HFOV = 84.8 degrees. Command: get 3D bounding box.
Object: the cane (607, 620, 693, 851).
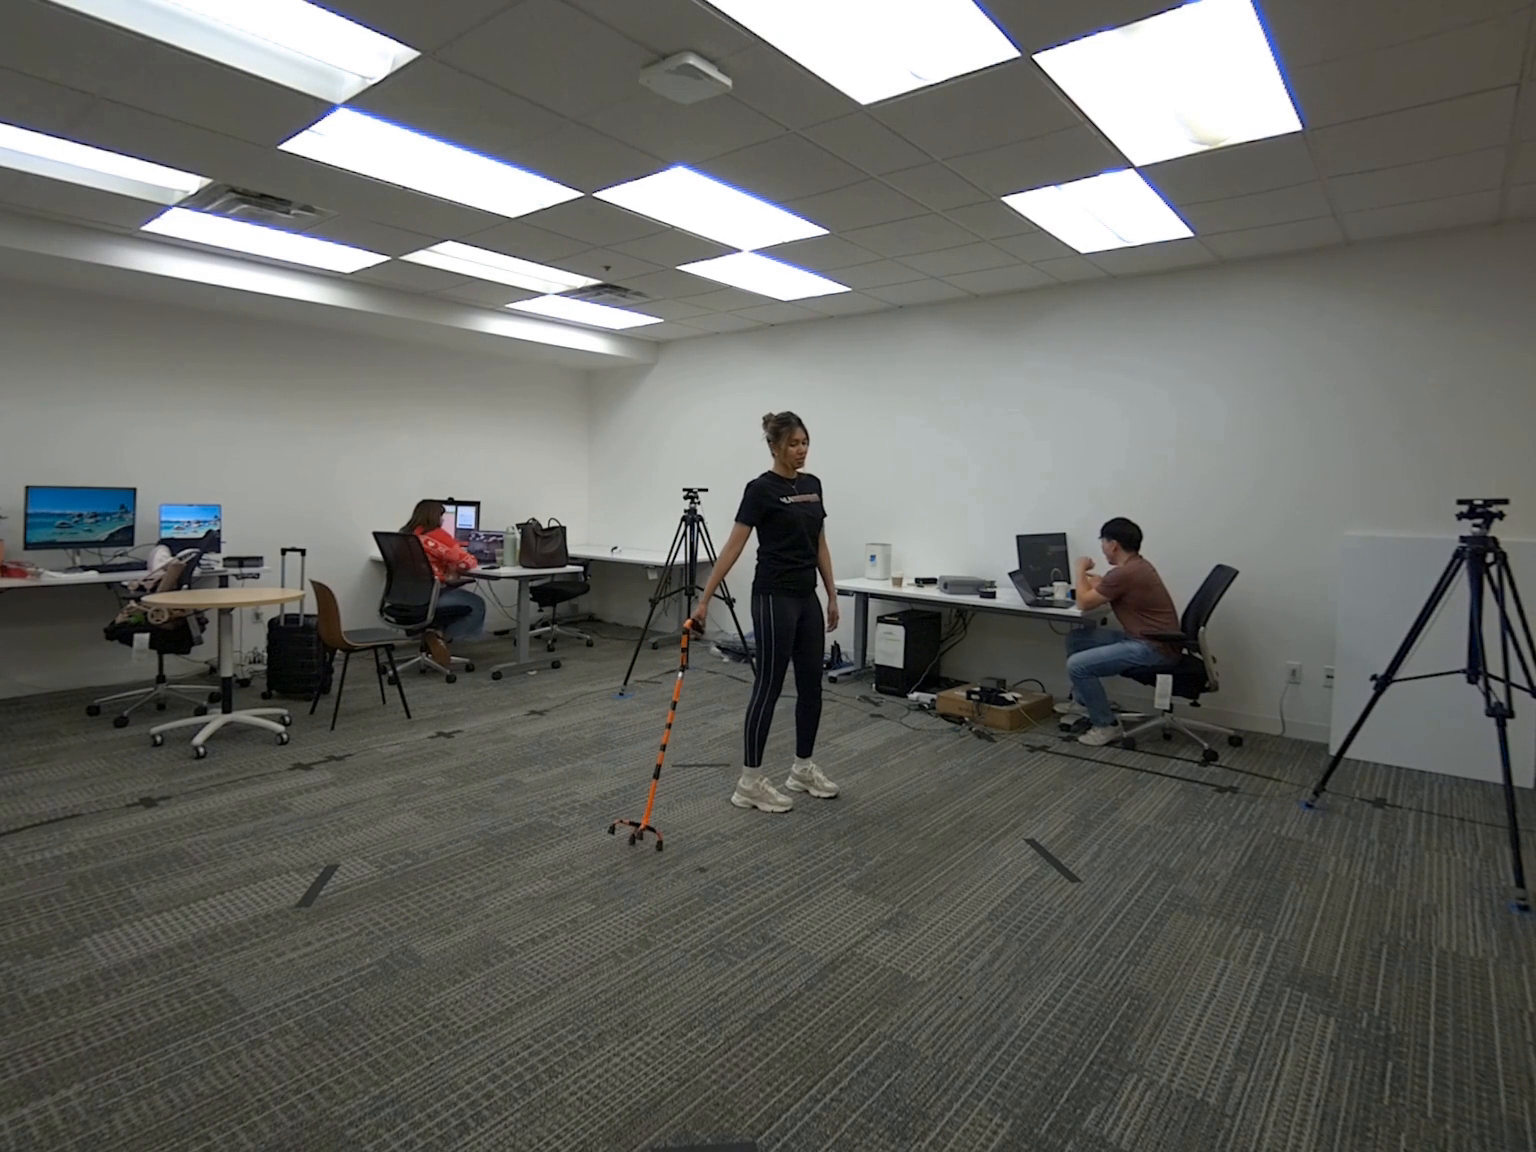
[{"bbox_3d":[-0.422,0.597,3.408,0.155,0.922,0.199,3,-26,21],"label":"cane"}]
